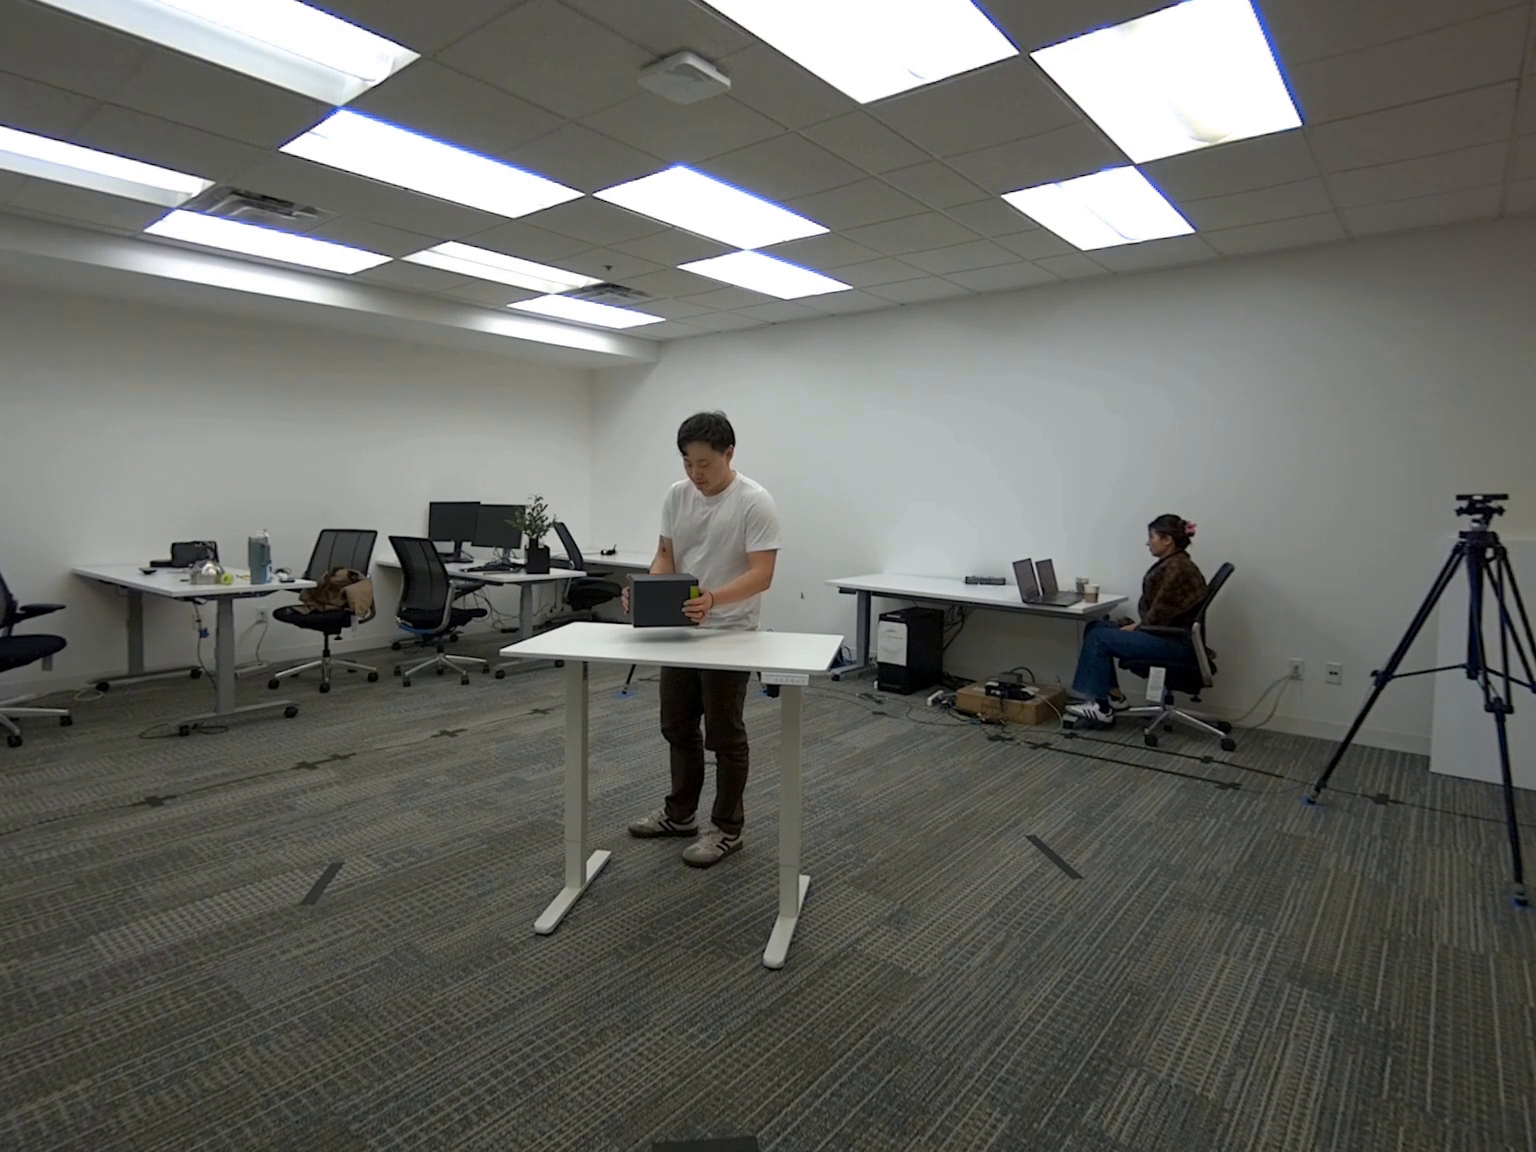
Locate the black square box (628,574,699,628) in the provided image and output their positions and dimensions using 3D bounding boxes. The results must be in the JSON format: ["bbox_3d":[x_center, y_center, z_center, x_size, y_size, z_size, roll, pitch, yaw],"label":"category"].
[{"bbox_3d":[-0.370,0.078,2.877,0.215,0.155,0.231,-1,5,-9],"label":"black square box"}]
